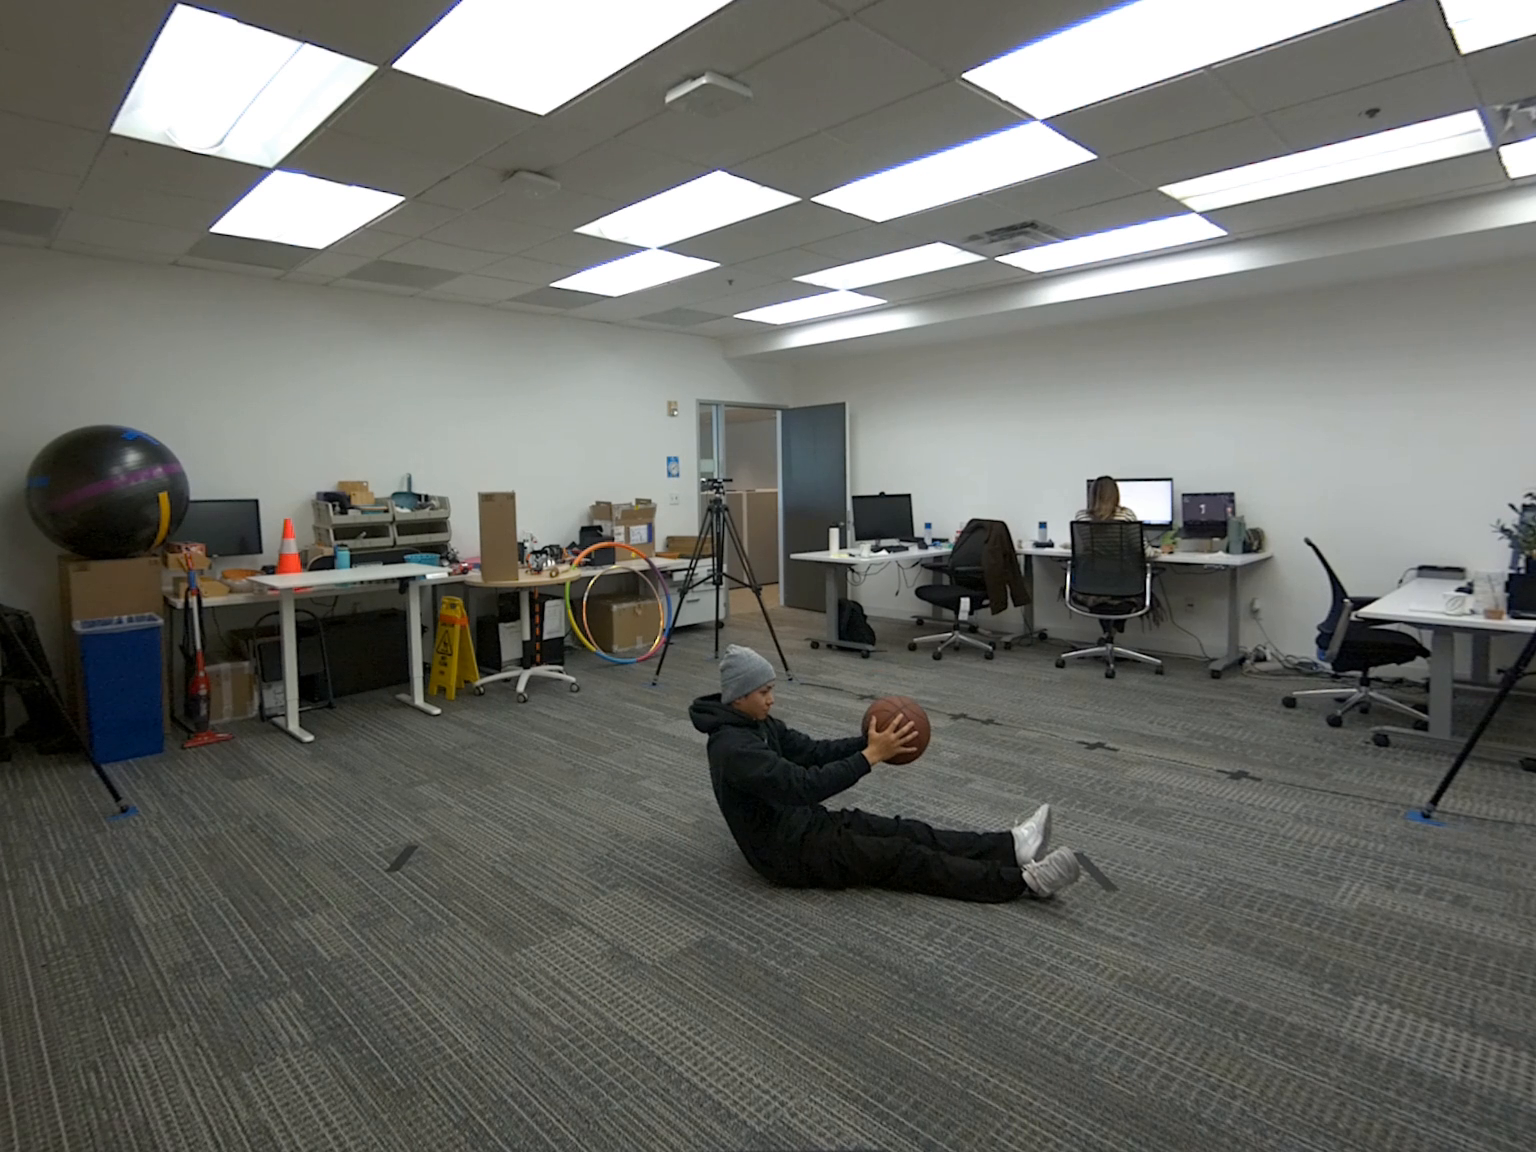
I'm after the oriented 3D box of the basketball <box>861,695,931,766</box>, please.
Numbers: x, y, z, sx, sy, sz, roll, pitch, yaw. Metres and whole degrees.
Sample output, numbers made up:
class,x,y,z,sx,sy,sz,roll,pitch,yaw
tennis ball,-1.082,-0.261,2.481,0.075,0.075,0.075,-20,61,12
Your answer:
class,x,y,z,sx,sy,sz,roll,pitch,yaw
basketball,0.441,0.538,2.984,0.236,0.235,0.237,-1,5,-2
